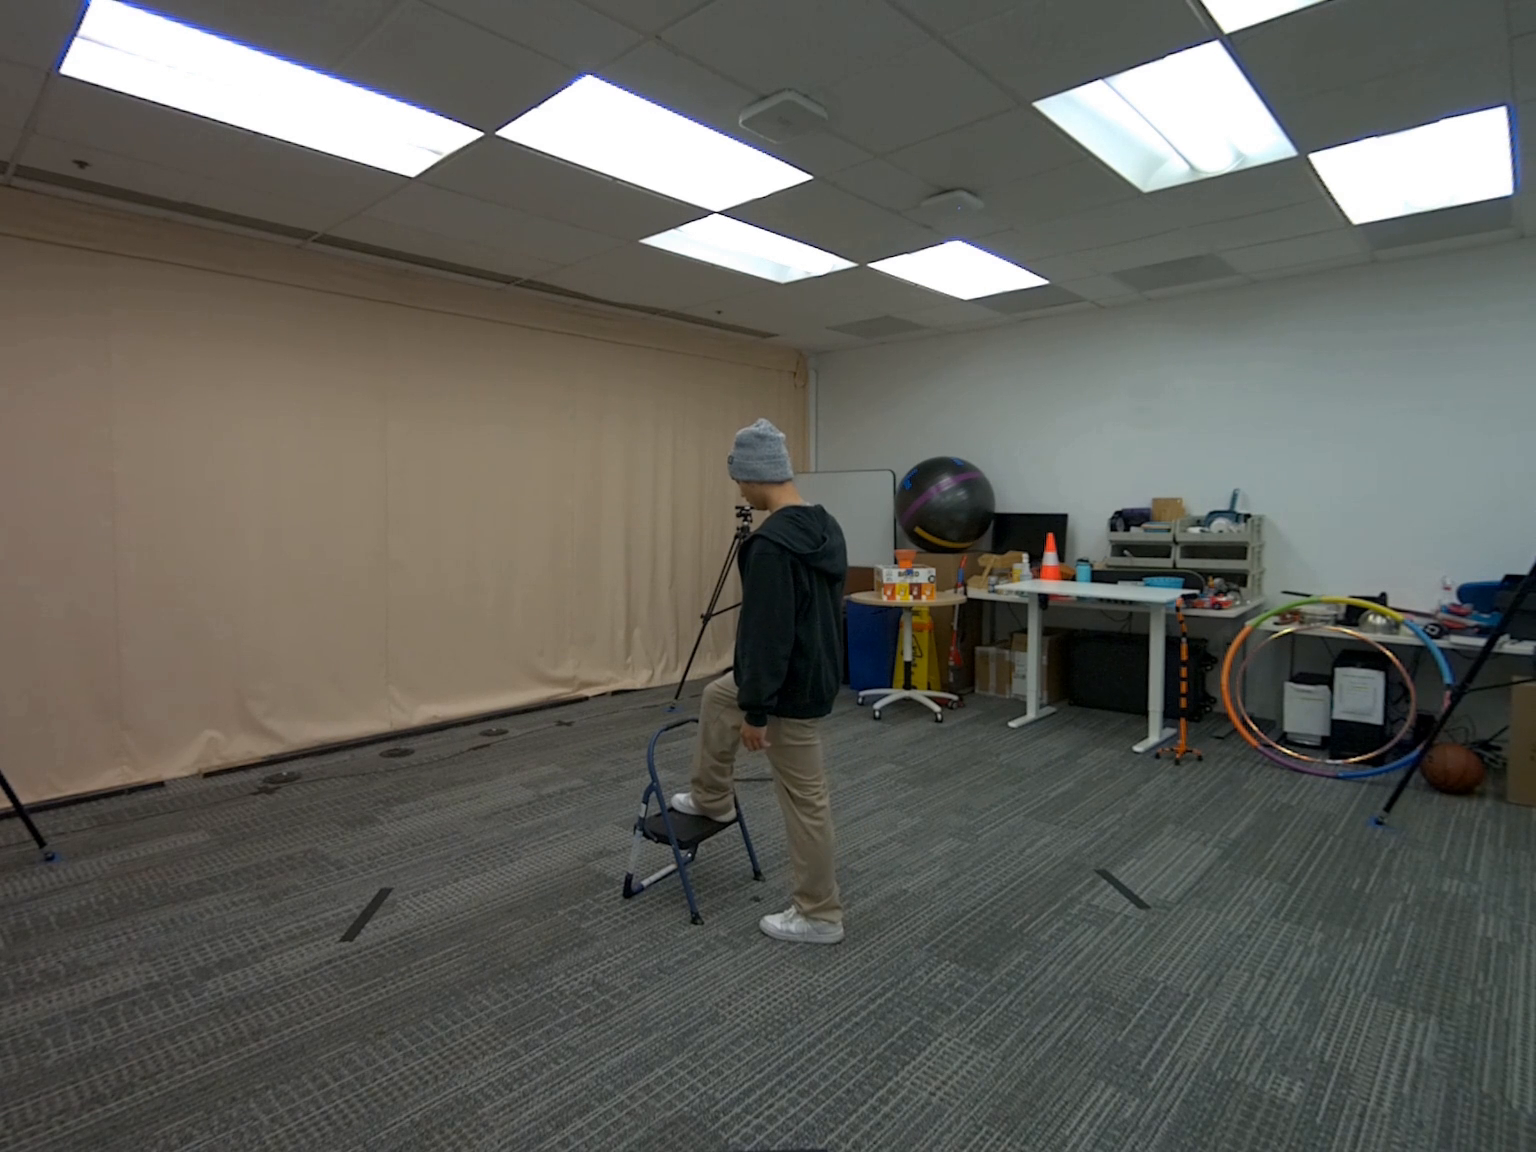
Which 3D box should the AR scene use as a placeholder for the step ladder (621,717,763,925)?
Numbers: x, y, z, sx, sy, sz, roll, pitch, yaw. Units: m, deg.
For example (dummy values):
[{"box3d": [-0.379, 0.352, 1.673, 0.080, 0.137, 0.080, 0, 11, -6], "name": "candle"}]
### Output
[{"box3d": [-0.270, 0.837, 3.055, 0.360, 0.605, 0.419, 1, 4, 32], "name": "step ladder"}]
